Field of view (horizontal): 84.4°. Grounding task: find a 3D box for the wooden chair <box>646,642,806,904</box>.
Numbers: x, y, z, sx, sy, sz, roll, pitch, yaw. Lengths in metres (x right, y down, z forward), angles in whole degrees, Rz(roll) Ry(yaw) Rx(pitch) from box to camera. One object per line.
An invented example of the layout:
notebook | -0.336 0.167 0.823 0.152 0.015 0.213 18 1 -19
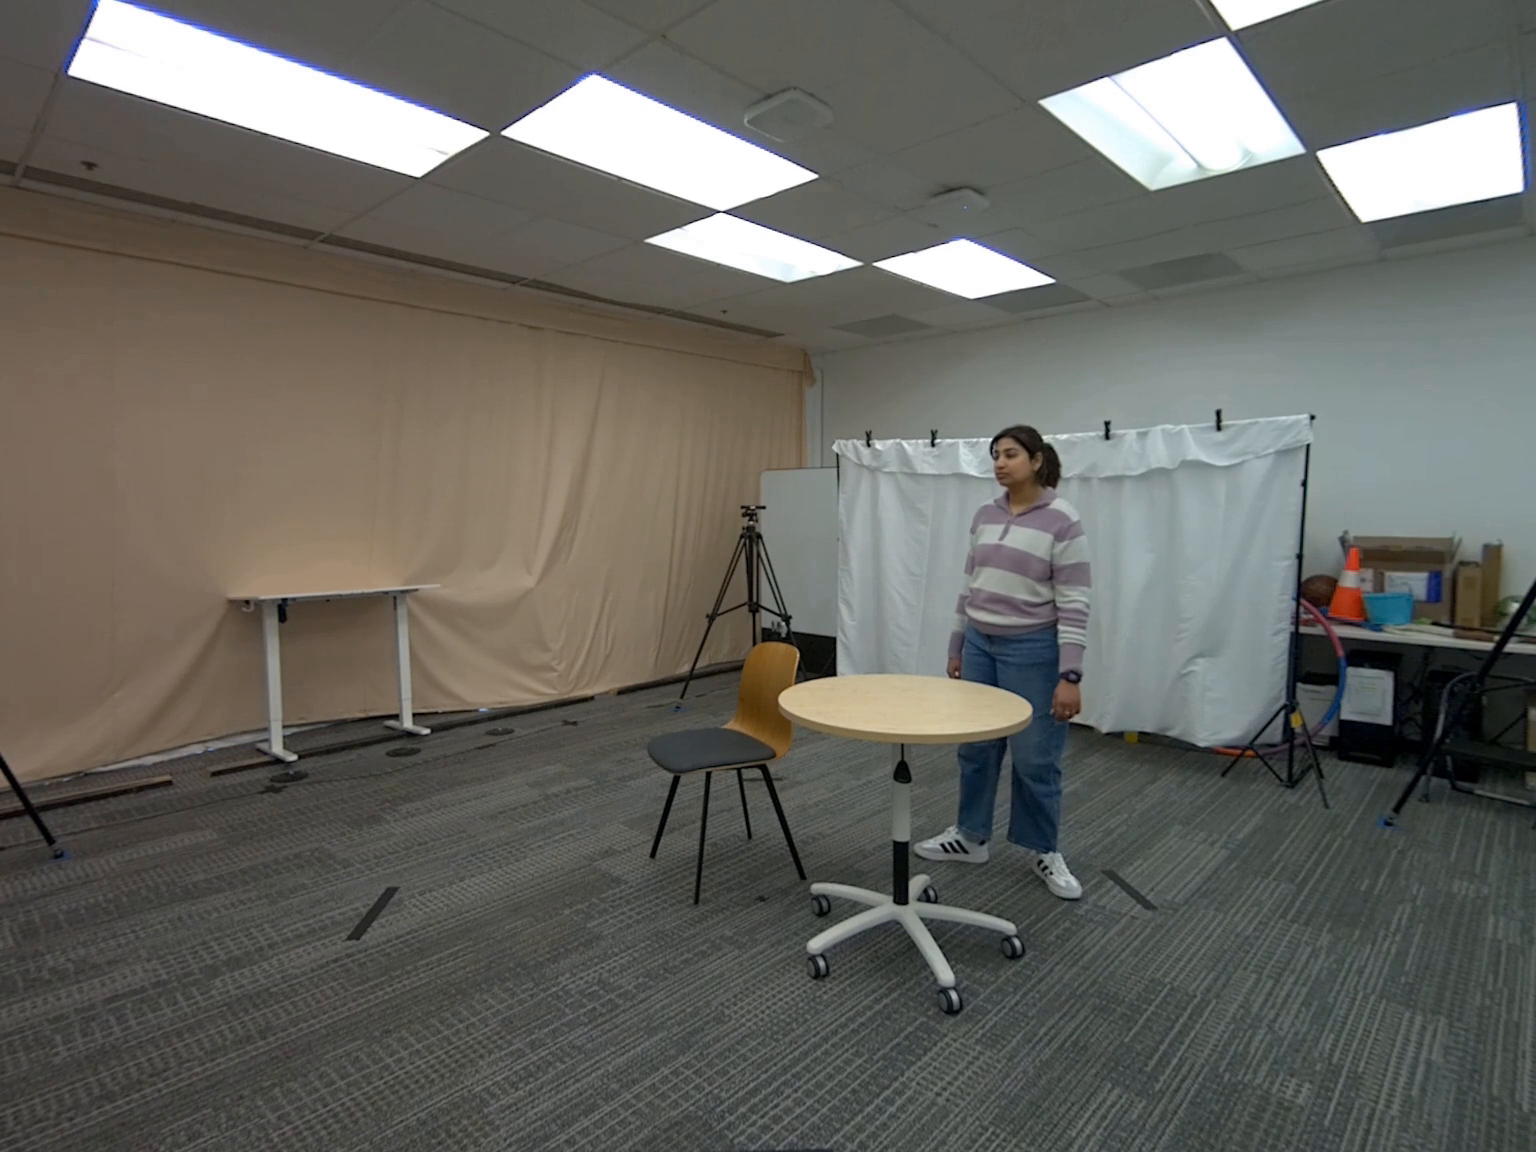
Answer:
wooden chair | -0.172 0.701 3.206 0.509 0.877 0.491 3 2 -27
